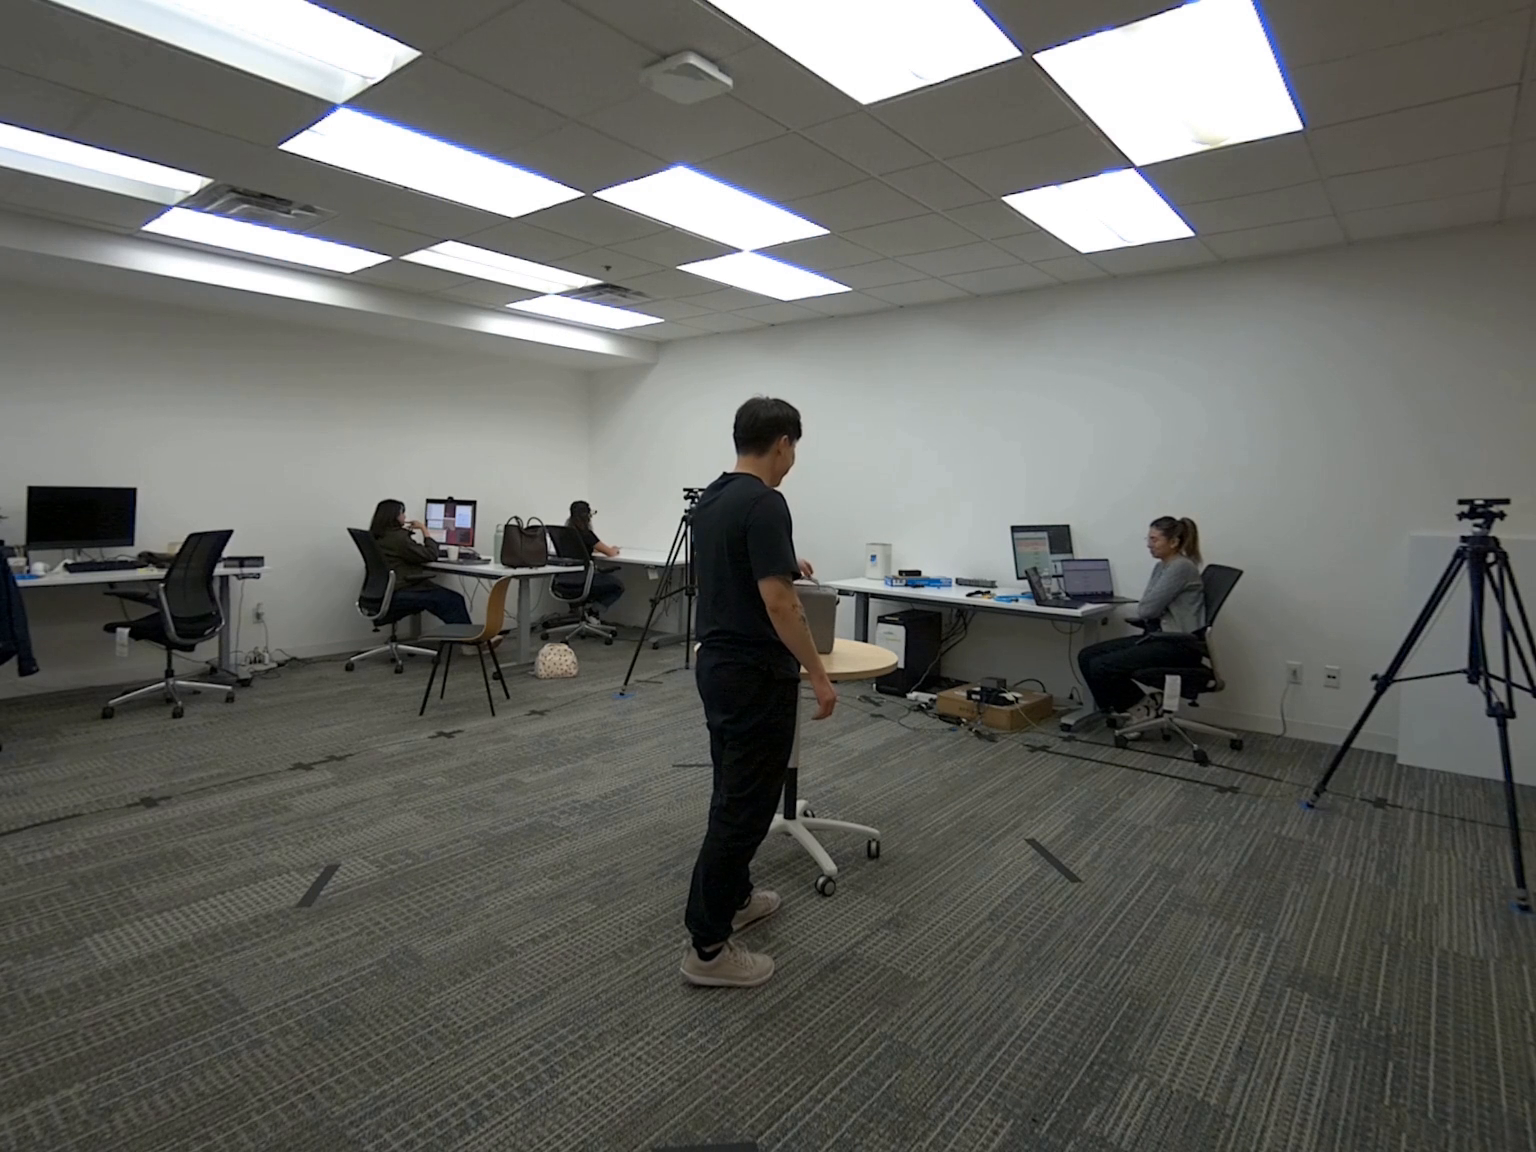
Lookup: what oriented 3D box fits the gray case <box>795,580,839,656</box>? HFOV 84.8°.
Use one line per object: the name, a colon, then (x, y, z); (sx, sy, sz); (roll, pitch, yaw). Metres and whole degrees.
gray case: (0.120, 0.150, 3.192); (0.257, 0.257, 0.106); (-1, 13, 0)
